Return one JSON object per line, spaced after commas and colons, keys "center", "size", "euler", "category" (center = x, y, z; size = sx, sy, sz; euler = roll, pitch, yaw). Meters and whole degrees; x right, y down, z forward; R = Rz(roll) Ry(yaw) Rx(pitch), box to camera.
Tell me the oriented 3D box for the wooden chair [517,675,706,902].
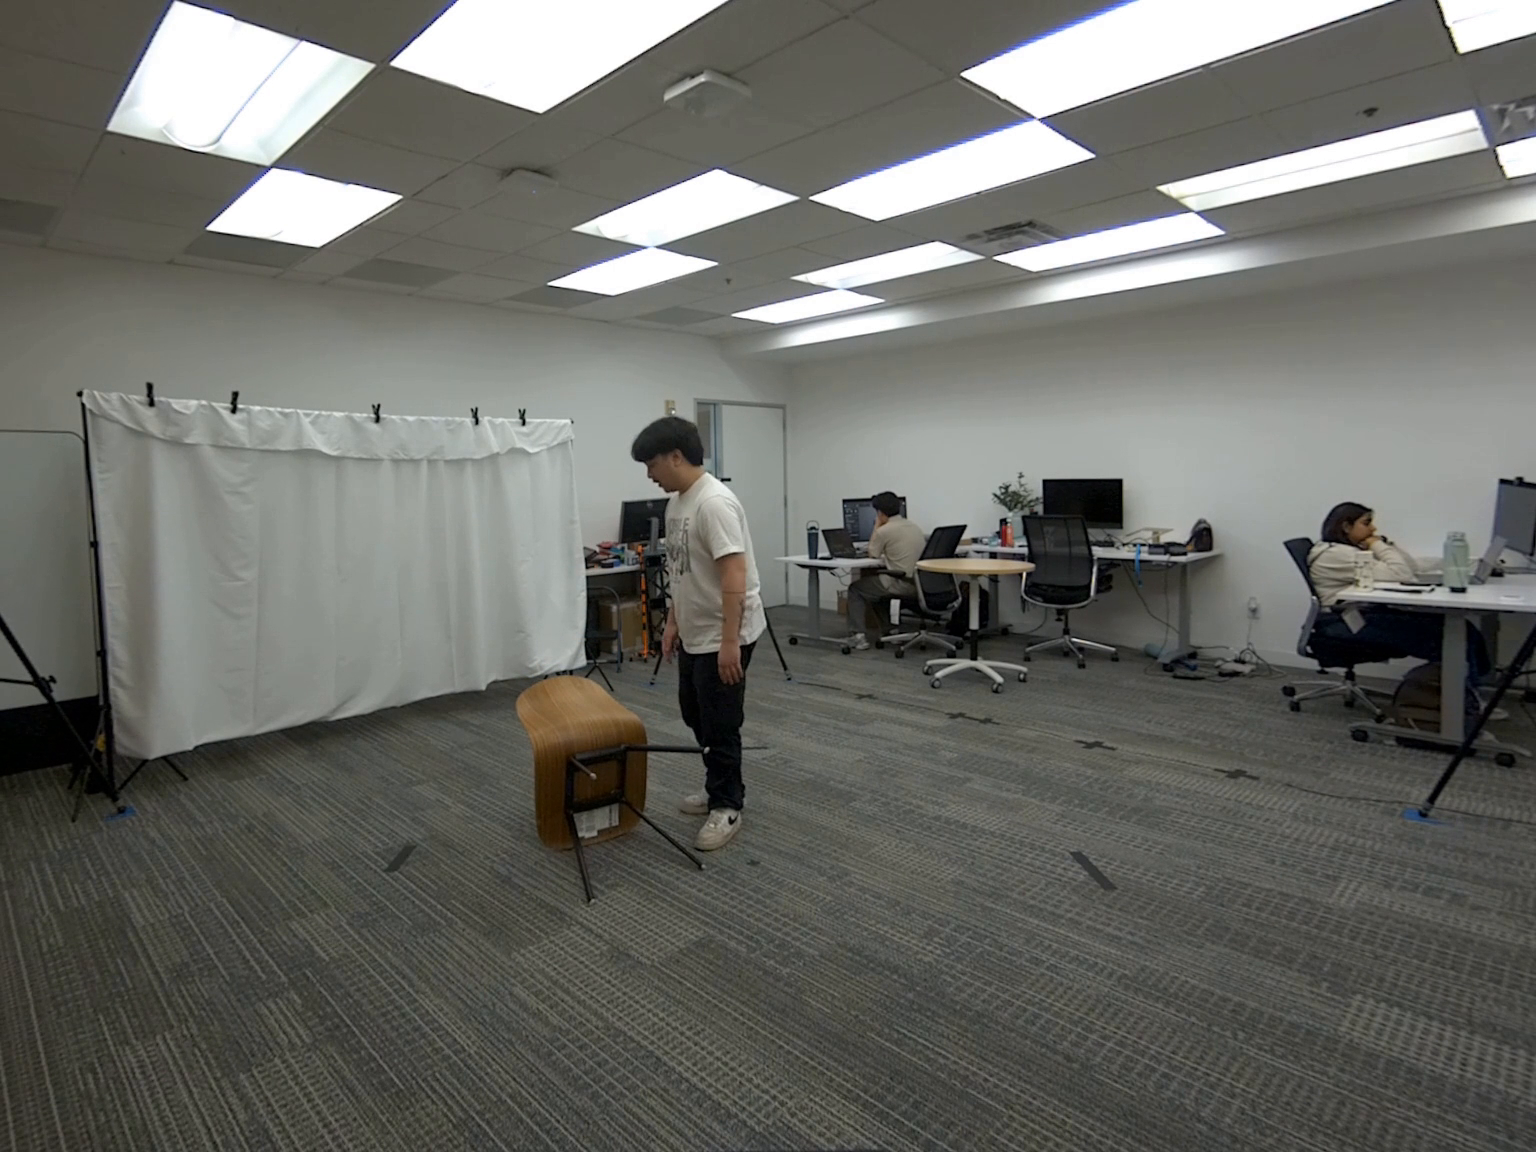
{"center": [-0.650, 0.783, 3.256], "size": [0.466, 0.518, 0.908], "euler": [-5, 16, -35], "category": "wooden chair"}
